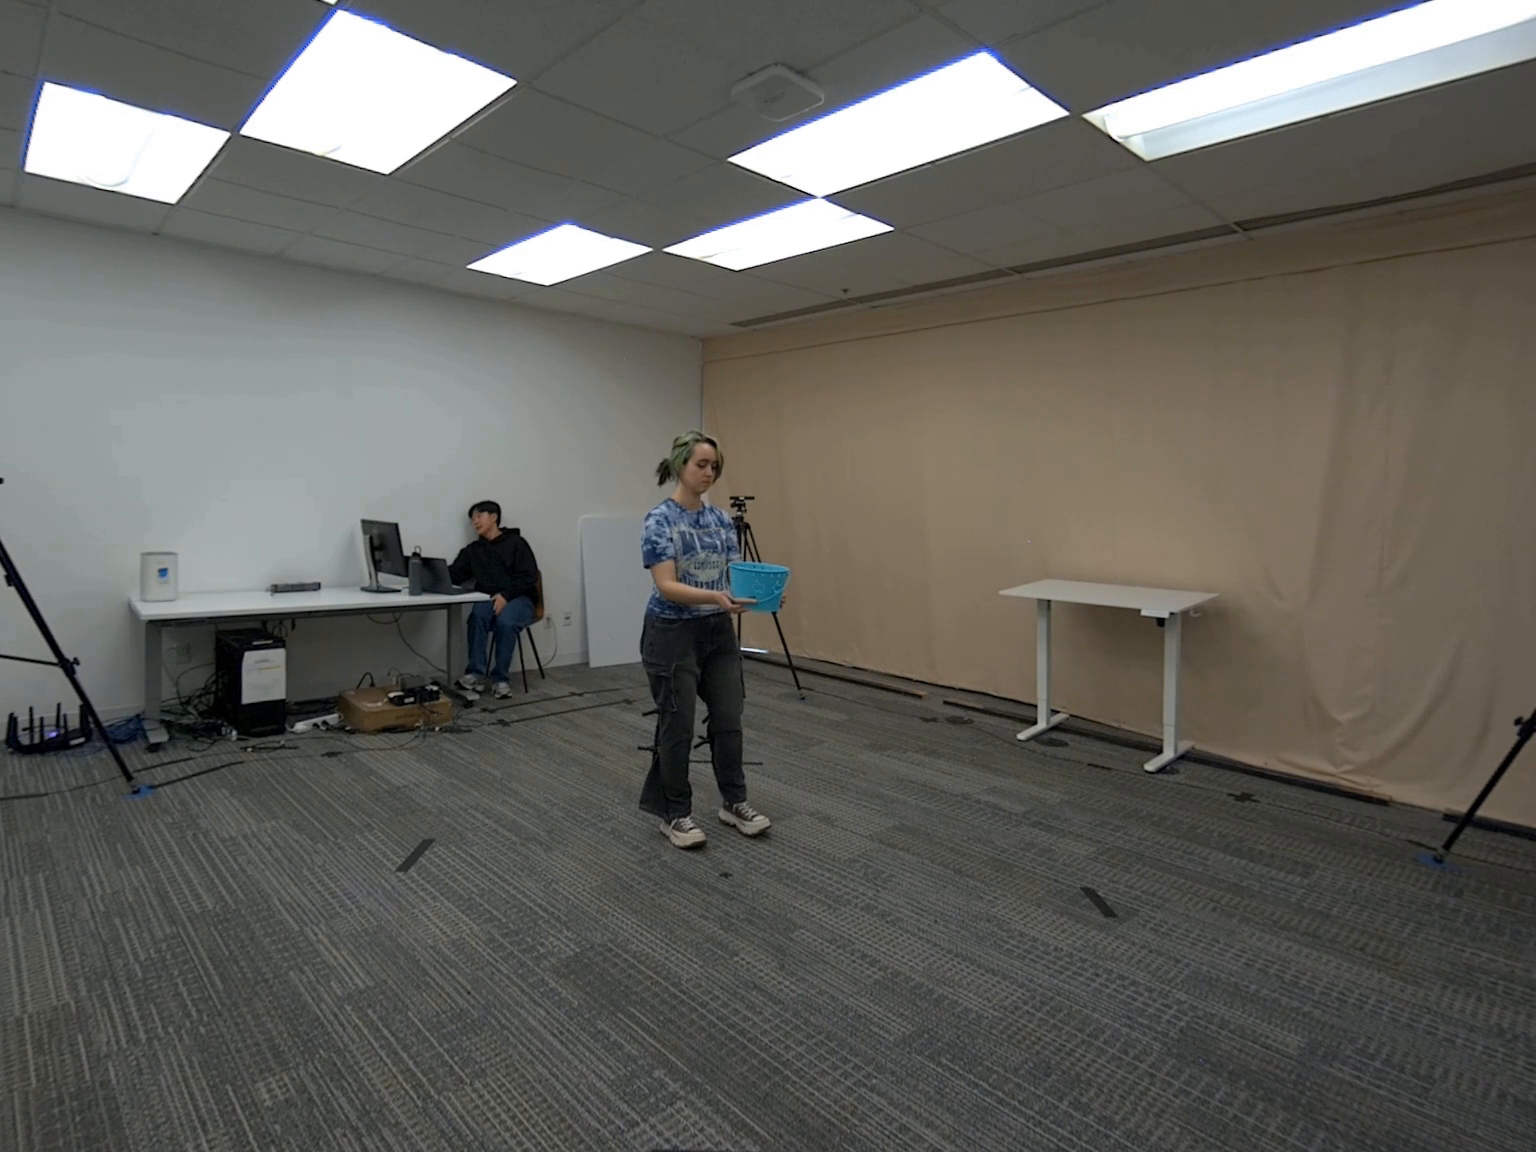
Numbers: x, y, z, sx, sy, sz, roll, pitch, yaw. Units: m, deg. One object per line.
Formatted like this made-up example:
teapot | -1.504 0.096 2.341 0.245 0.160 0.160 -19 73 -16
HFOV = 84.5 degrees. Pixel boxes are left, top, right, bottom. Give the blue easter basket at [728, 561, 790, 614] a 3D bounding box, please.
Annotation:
blue easter basket | -0.040 0.042 3.123 0.243 0.155 0.244 4 5 -2
